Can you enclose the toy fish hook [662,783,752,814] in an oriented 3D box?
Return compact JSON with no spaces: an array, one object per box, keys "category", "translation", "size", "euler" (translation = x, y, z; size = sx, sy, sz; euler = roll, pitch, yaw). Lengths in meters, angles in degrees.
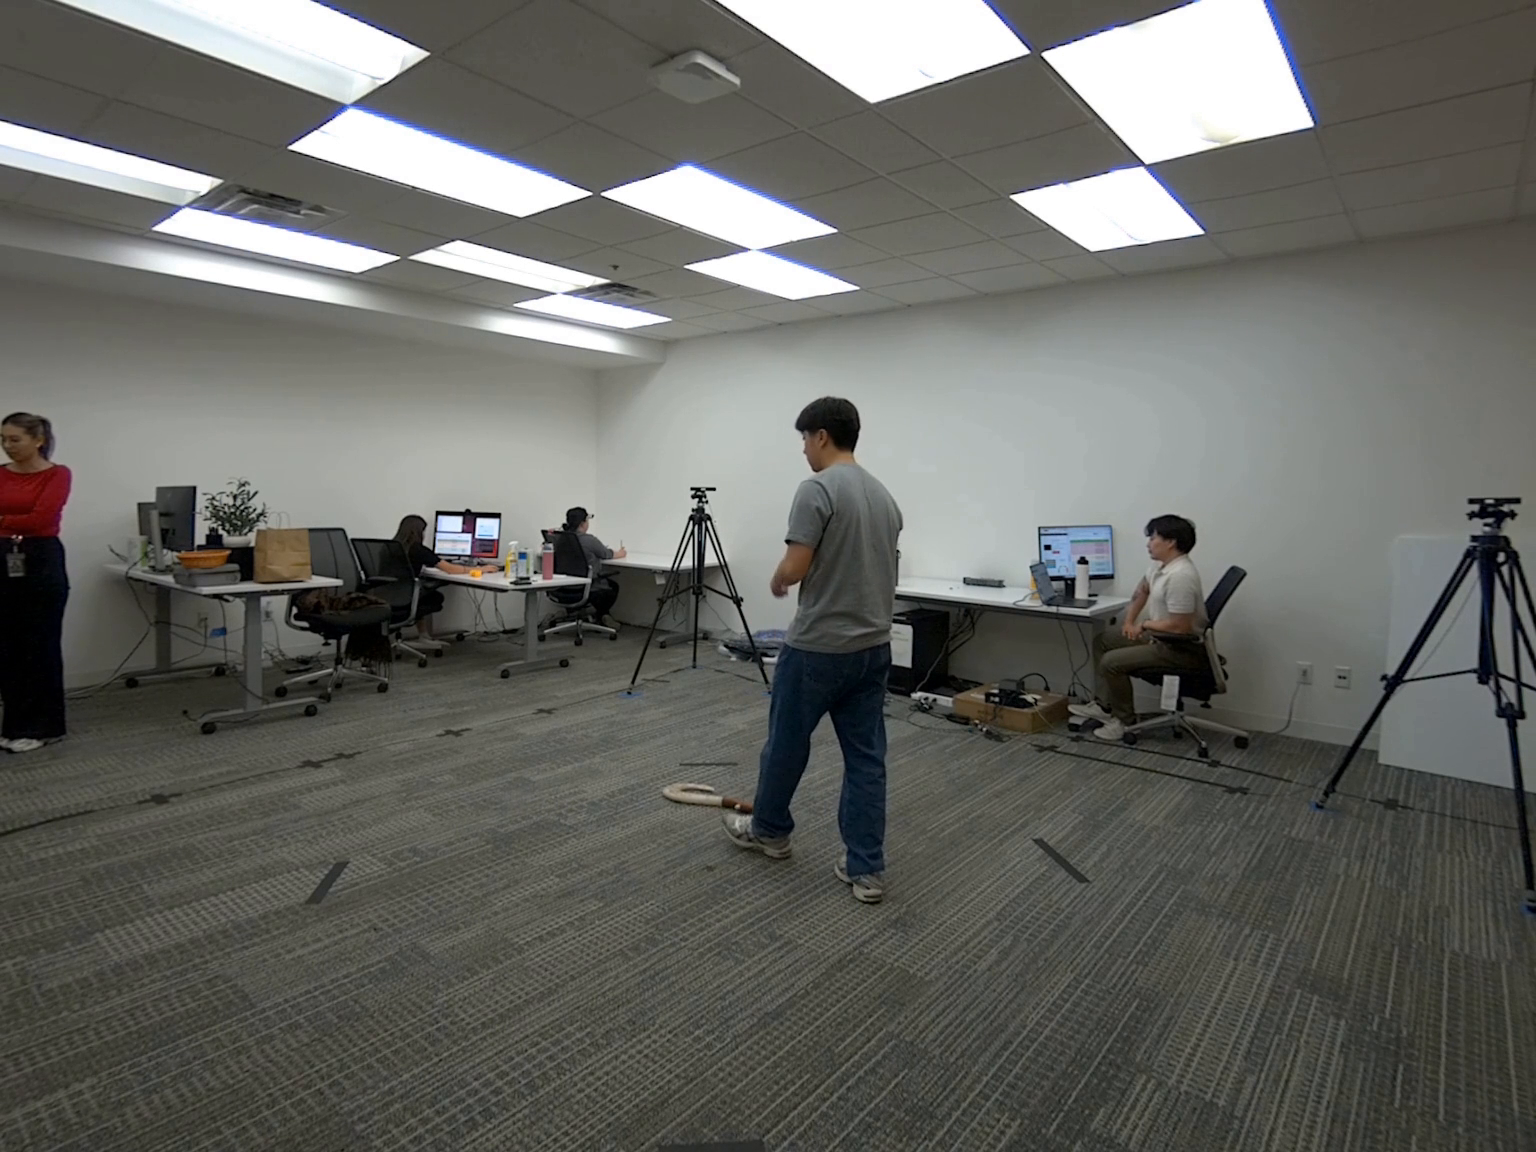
[{"category":"toy fish hook","translation":[-0.236,0.975,3.781],"size":[0.520,0.048,0.220],"euler":[4,8,26]}]
